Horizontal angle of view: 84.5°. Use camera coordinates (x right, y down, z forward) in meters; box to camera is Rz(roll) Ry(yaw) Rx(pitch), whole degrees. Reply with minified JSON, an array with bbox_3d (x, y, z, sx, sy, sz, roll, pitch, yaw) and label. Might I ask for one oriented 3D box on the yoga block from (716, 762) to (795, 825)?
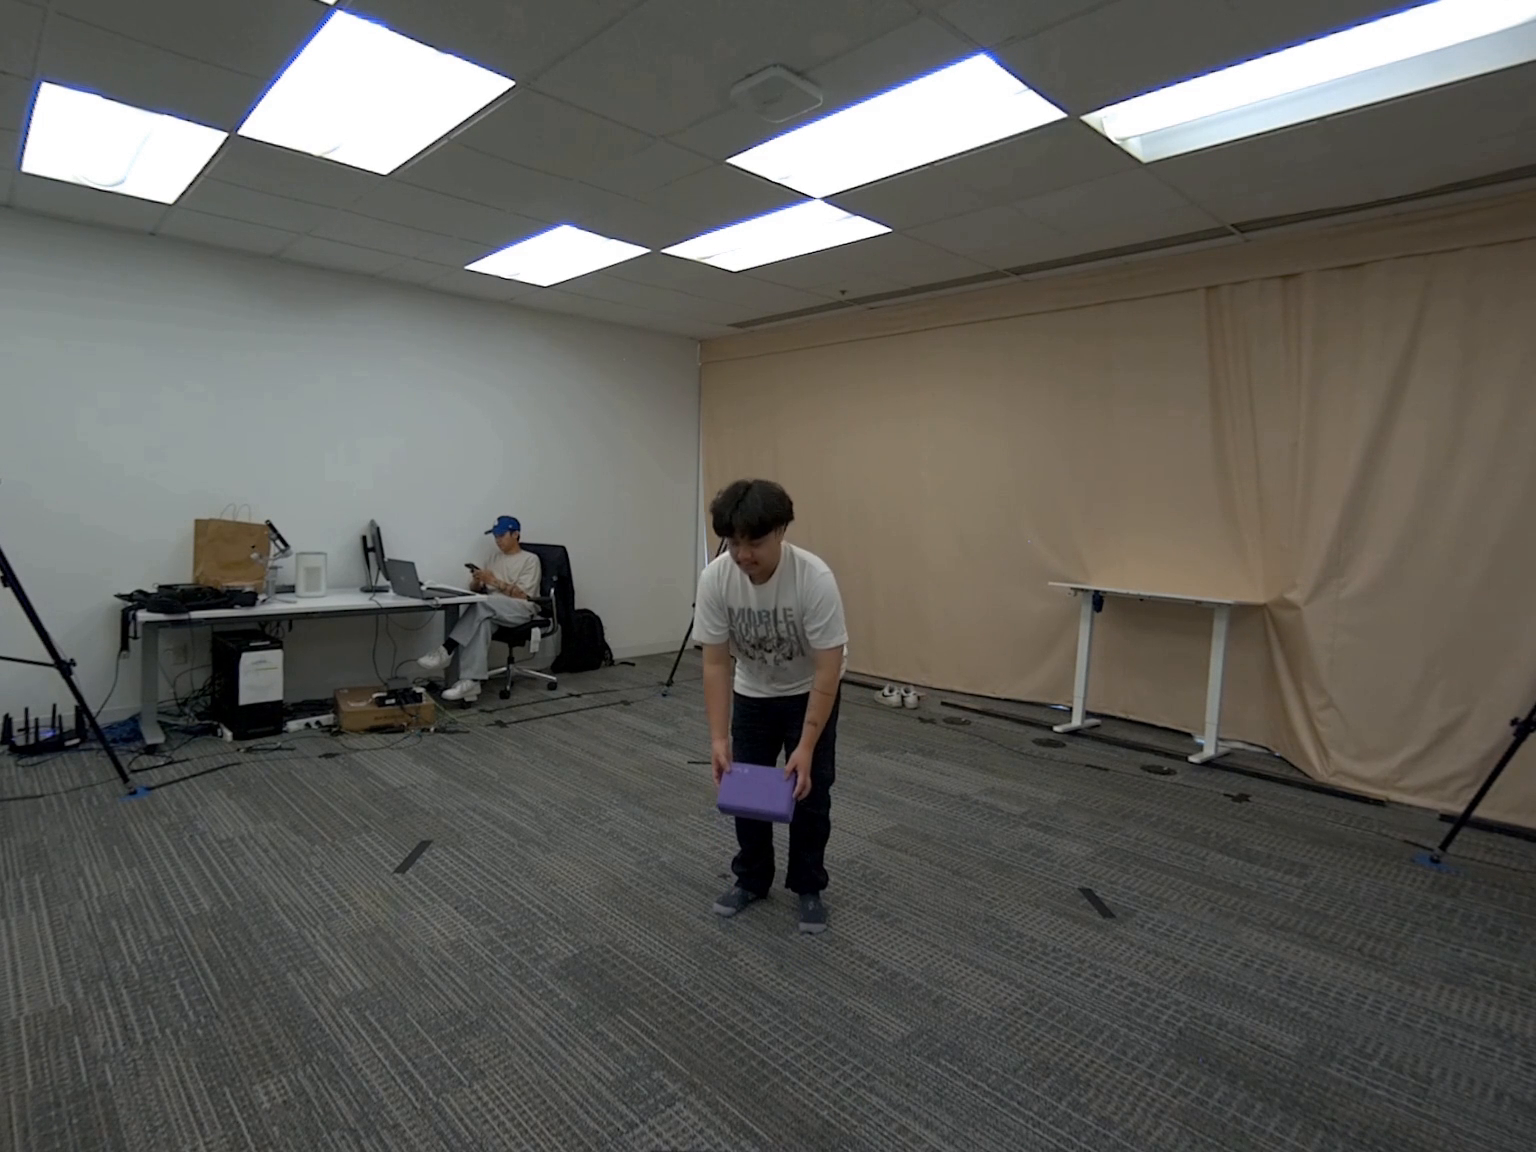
[{"bbox_3d":[-0.040,0.670,2.586,0.233,0.151,0.074,3,-36,18],"label":"yoga block"}]
